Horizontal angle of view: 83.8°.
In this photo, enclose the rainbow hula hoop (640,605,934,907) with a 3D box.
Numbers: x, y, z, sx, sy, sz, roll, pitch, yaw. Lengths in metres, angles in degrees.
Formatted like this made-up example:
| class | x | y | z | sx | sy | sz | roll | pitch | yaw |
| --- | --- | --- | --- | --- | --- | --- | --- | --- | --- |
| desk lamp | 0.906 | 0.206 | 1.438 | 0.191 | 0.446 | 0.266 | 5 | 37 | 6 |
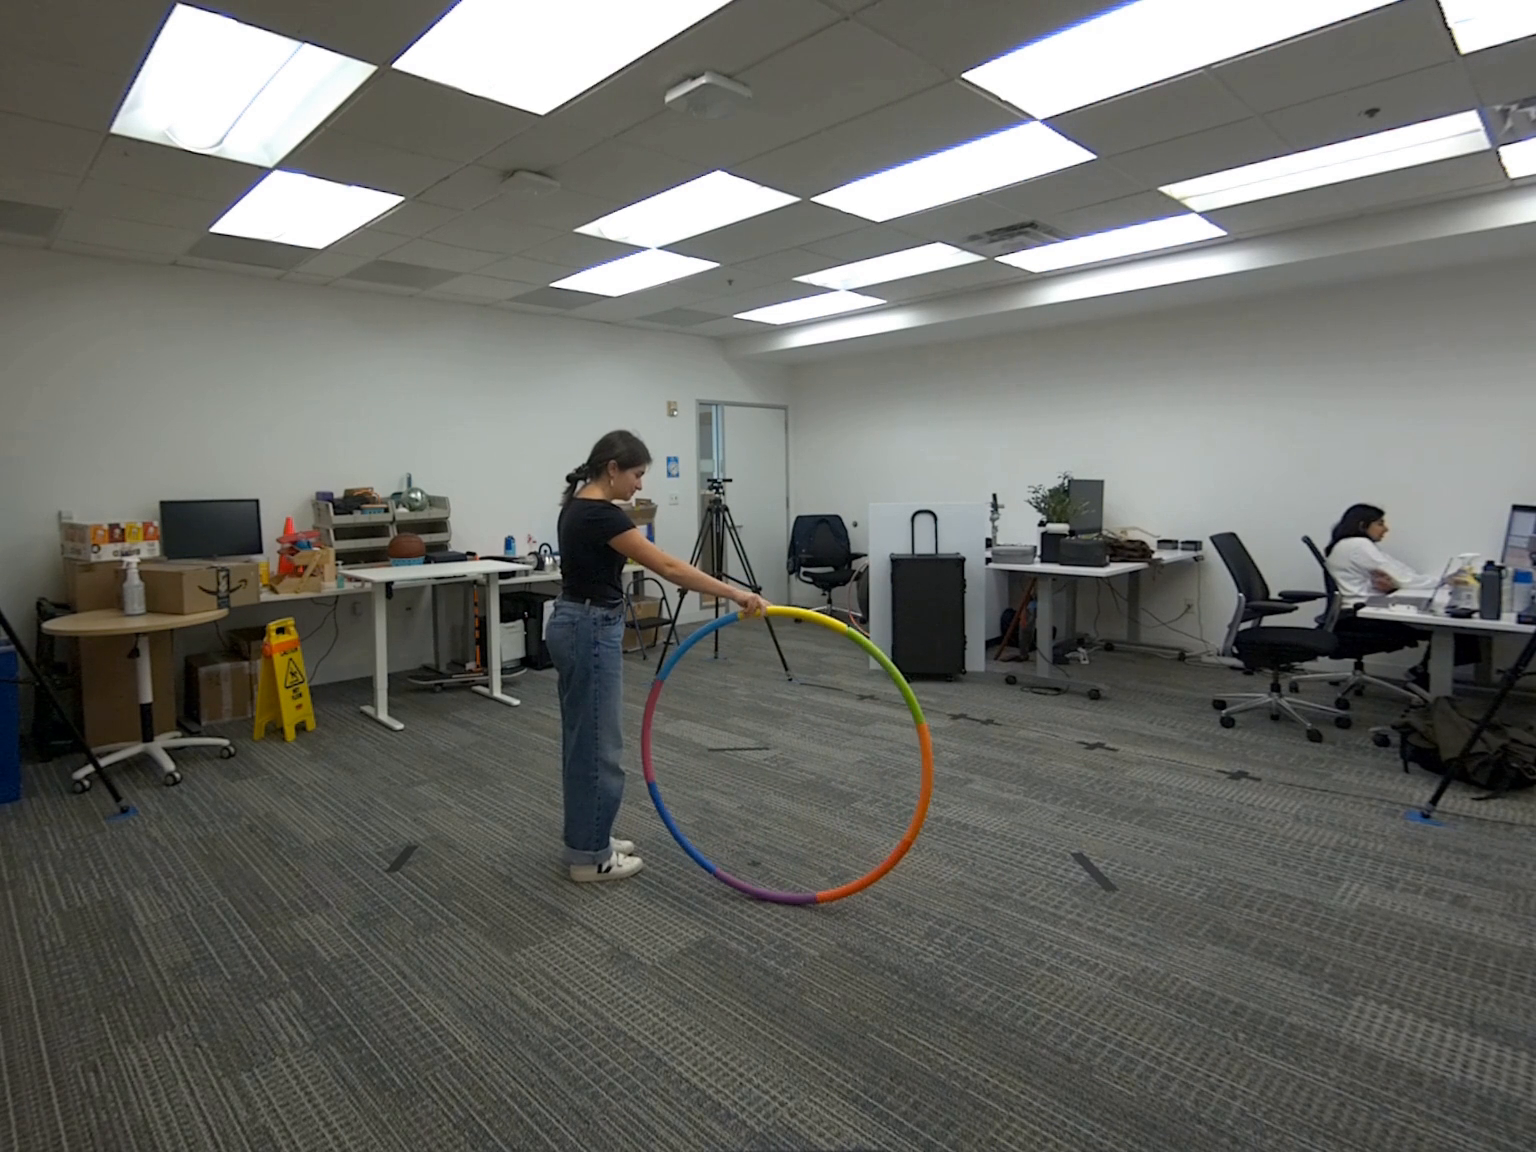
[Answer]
| class | x | y | z | sx | sy | sz | roll | pitch | yaw |
| --- | --- | --- | --- | --- | --- | --- | --- | --- | --- |
| rainbow hula hoop | 0.039 | 0.595 | 2.830 | 0.996 | 0.979 | 0.035 | 1 | -1 | 19 |
